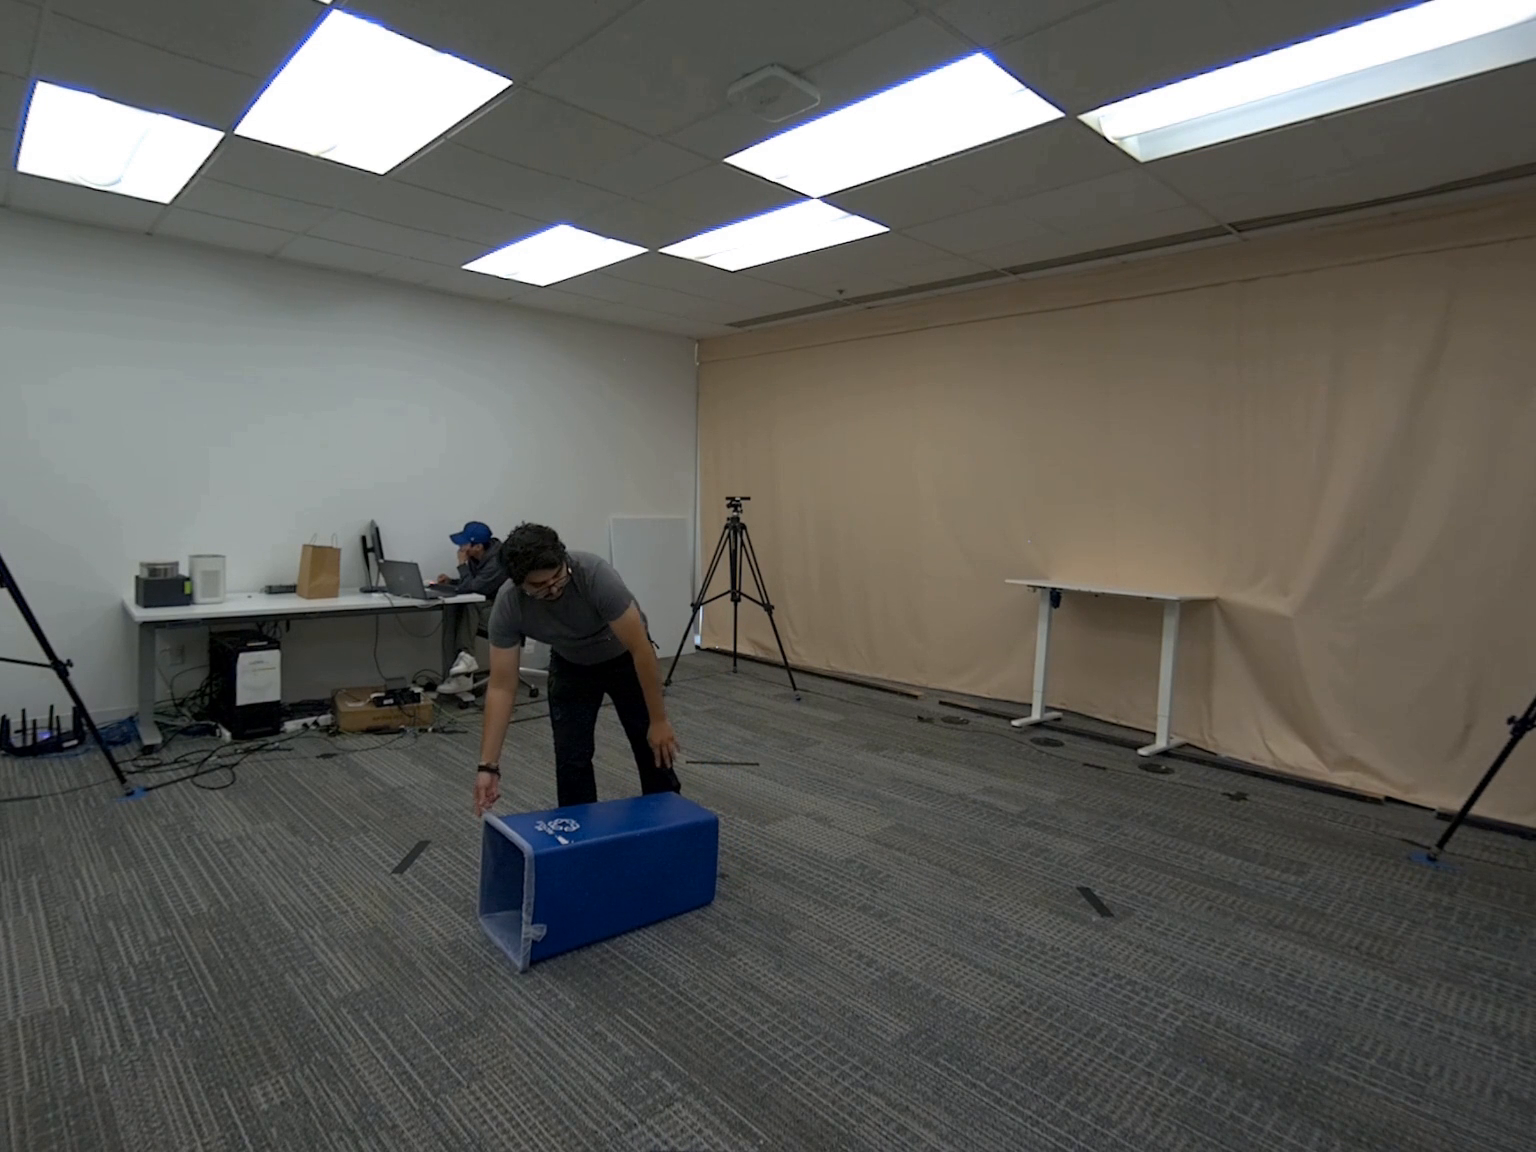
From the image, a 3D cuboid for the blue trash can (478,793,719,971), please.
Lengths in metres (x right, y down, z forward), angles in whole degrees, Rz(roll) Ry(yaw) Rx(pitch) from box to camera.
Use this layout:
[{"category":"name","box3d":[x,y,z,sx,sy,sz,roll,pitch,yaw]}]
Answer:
[{"category":"blue trash can","box3d":[-0.550,0.954,2.779,0.697,0.373,0.387,0,4,-39]}]
